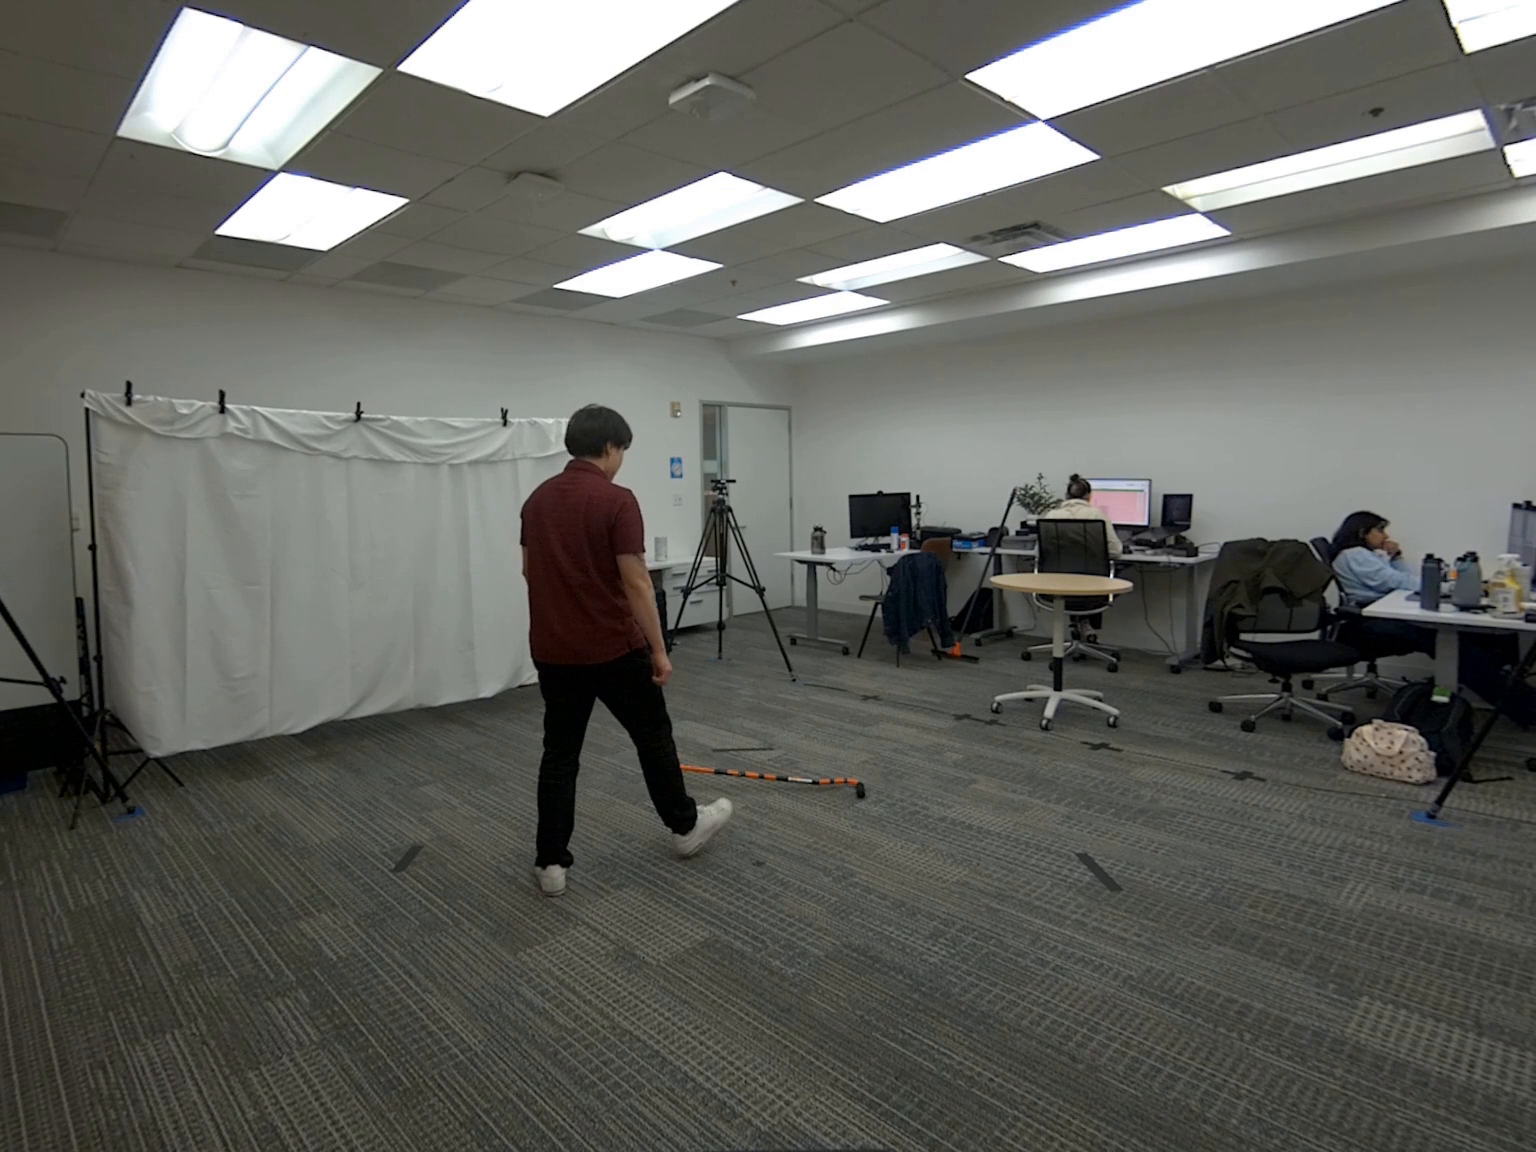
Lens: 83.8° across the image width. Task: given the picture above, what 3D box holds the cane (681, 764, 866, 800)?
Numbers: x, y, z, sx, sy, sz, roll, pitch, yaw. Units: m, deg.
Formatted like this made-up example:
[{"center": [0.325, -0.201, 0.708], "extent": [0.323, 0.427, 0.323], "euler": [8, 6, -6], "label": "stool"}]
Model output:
[{"center": [-0.022, 0.919, 3.871], "extent": [0.915, 0.151, 0.206], "euler": [4, 5, 7], "label": "cane"}]
